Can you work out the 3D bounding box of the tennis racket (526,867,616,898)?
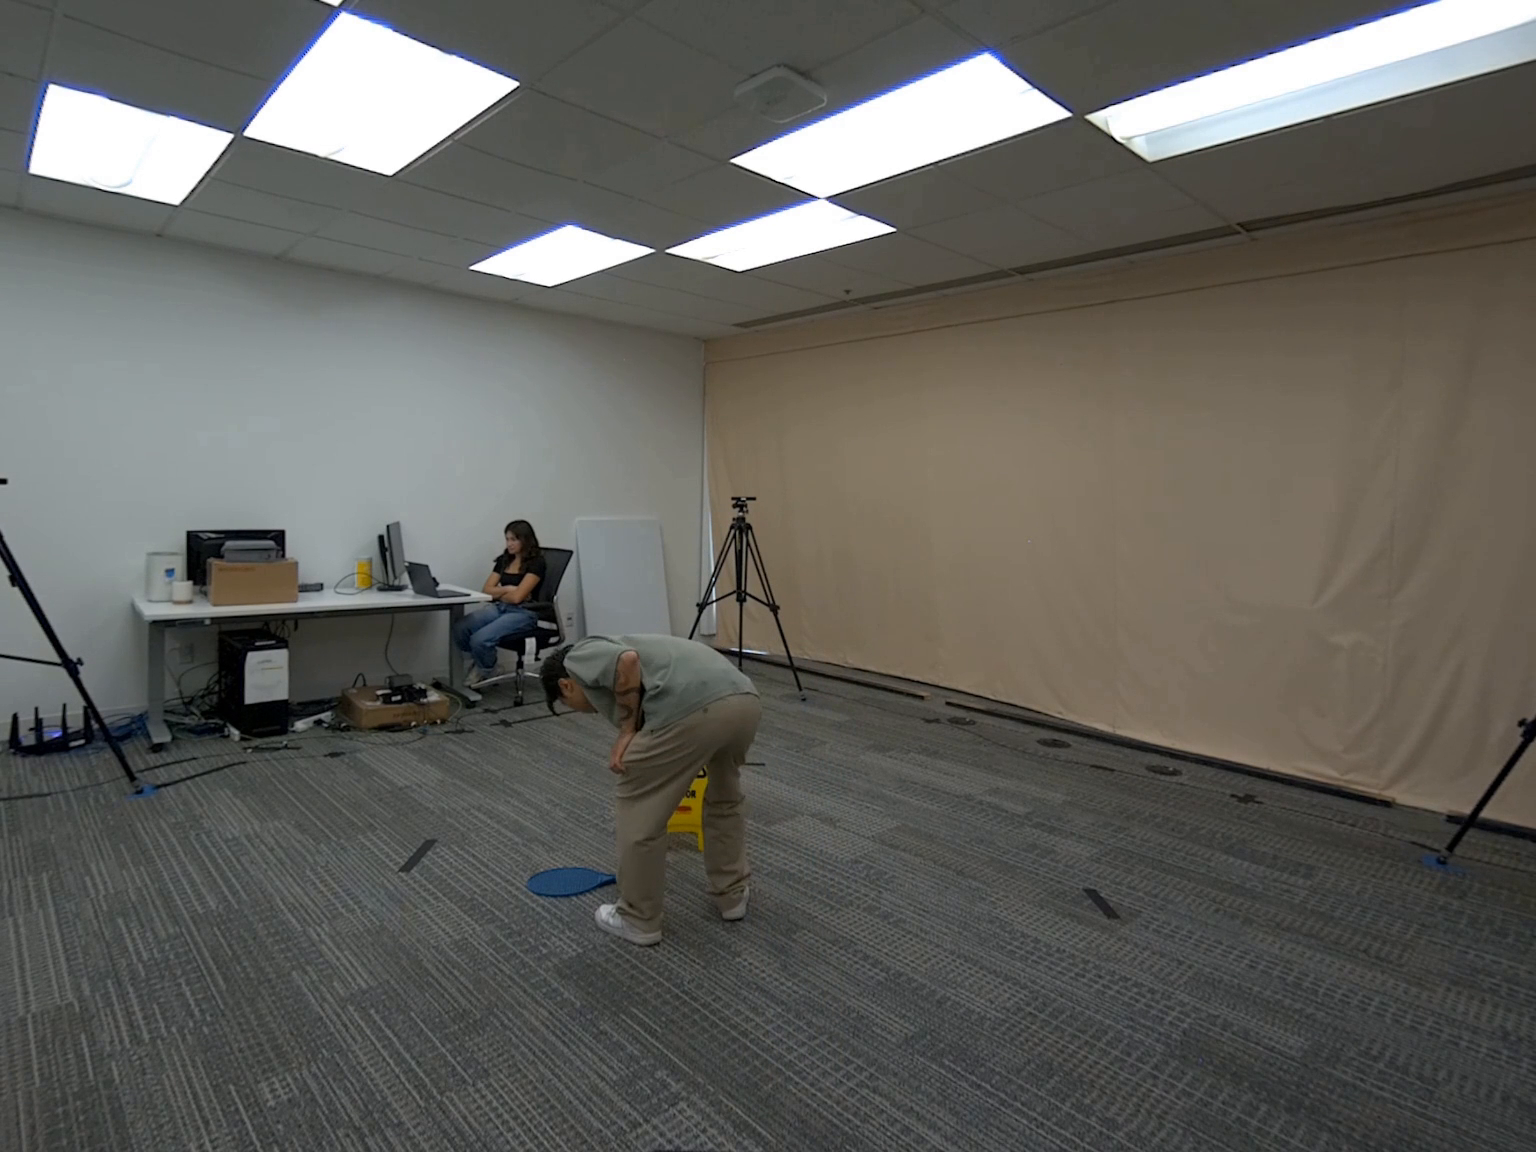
[{"bbox_3d":[-0.645,1.084,3.019,0.431,0.031,0.215,-1,6,-6],"label":"tennis racket"}]
